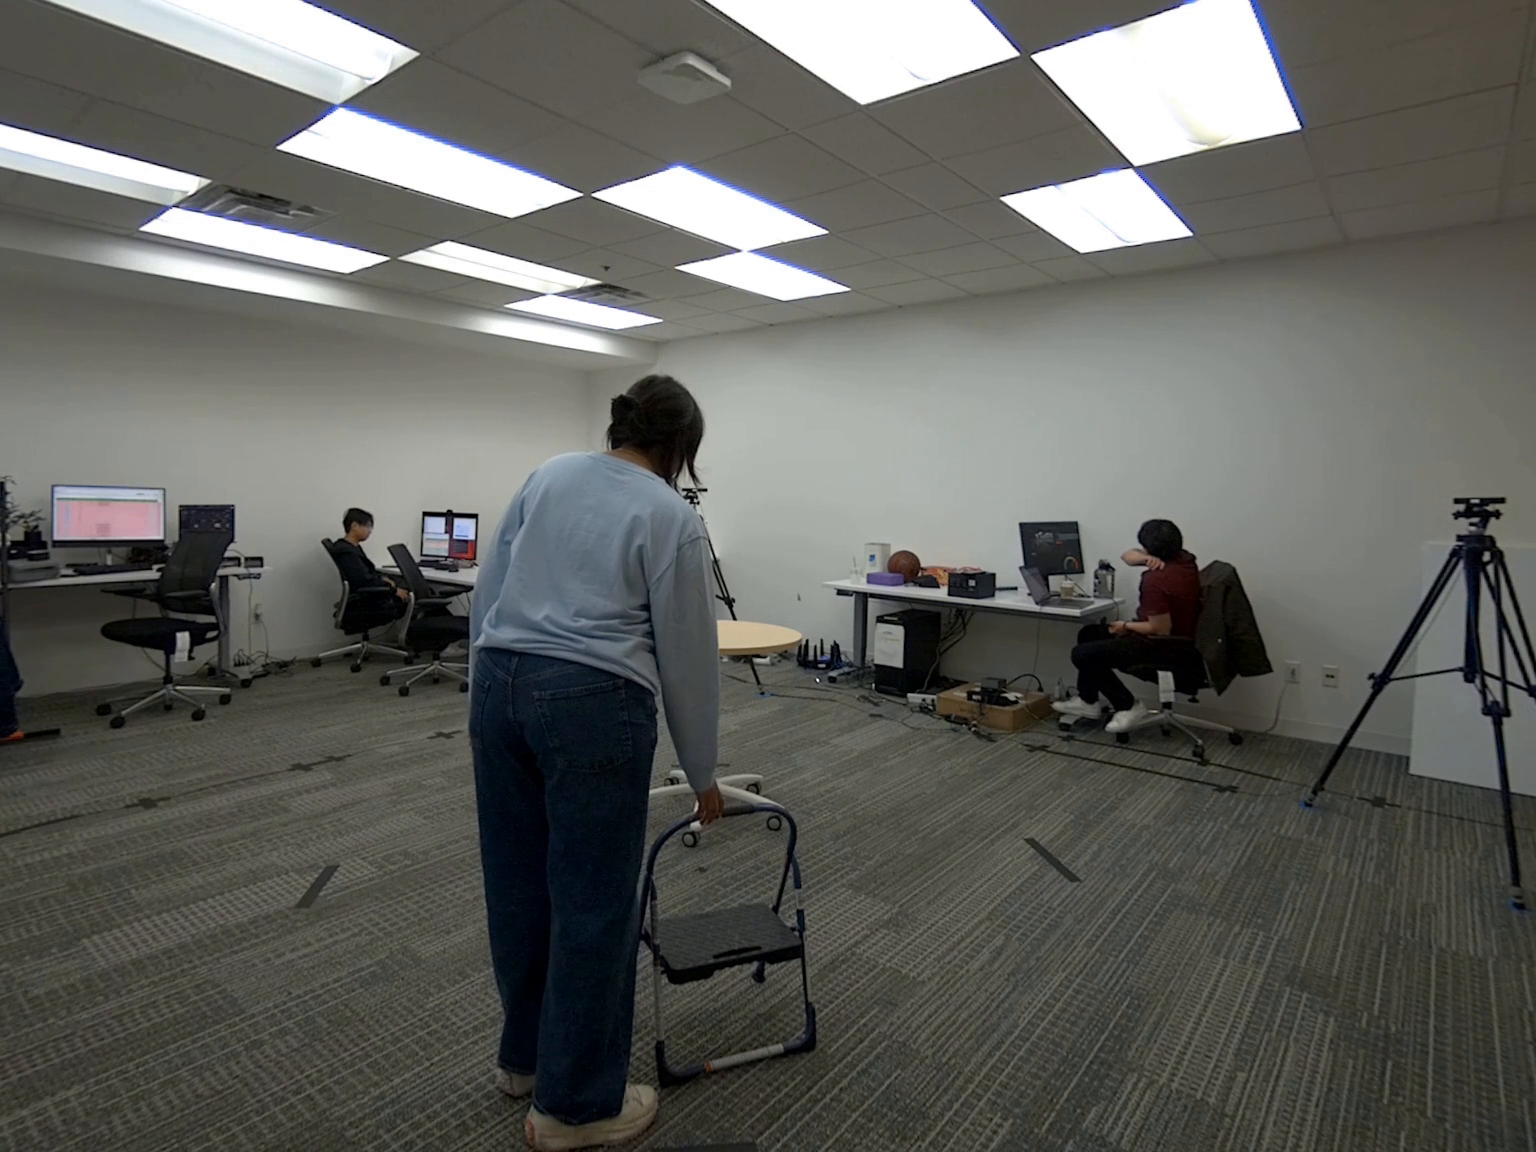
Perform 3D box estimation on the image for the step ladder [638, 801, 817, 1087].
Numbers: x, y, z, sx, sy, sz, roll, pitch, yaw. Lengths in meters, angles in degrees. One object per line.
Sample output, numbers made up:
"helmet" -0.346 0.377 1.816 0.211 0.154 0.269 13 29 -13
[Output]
"step ladder" -0.135 0.861 2.190 0.421 0.604 0.359 -1 4 -24
